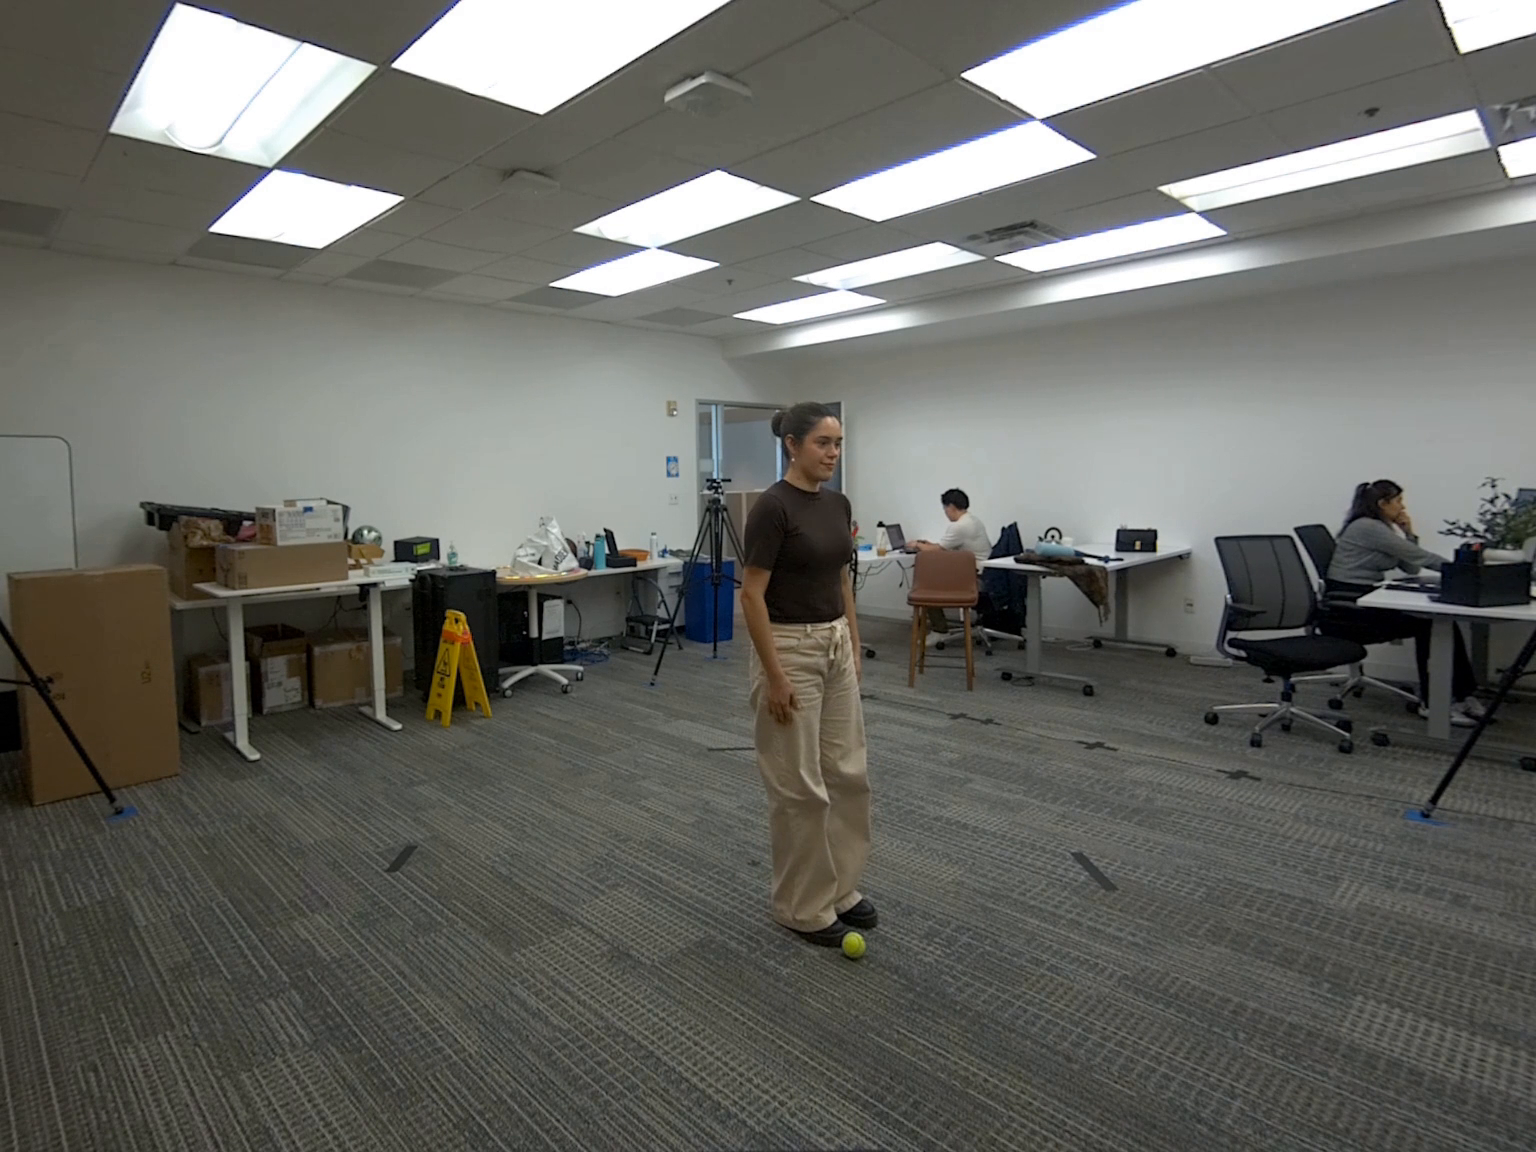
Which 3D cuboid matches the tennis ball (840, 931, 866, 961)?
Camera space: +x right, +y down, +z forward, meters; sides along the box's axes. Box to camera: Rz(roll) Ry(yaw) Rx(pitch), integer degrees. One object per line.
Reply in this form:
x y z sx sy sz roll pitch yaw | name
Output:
0.255 1.074 2.494 0.066 0.066 0.067 -1 5 -2 | tennis ball
